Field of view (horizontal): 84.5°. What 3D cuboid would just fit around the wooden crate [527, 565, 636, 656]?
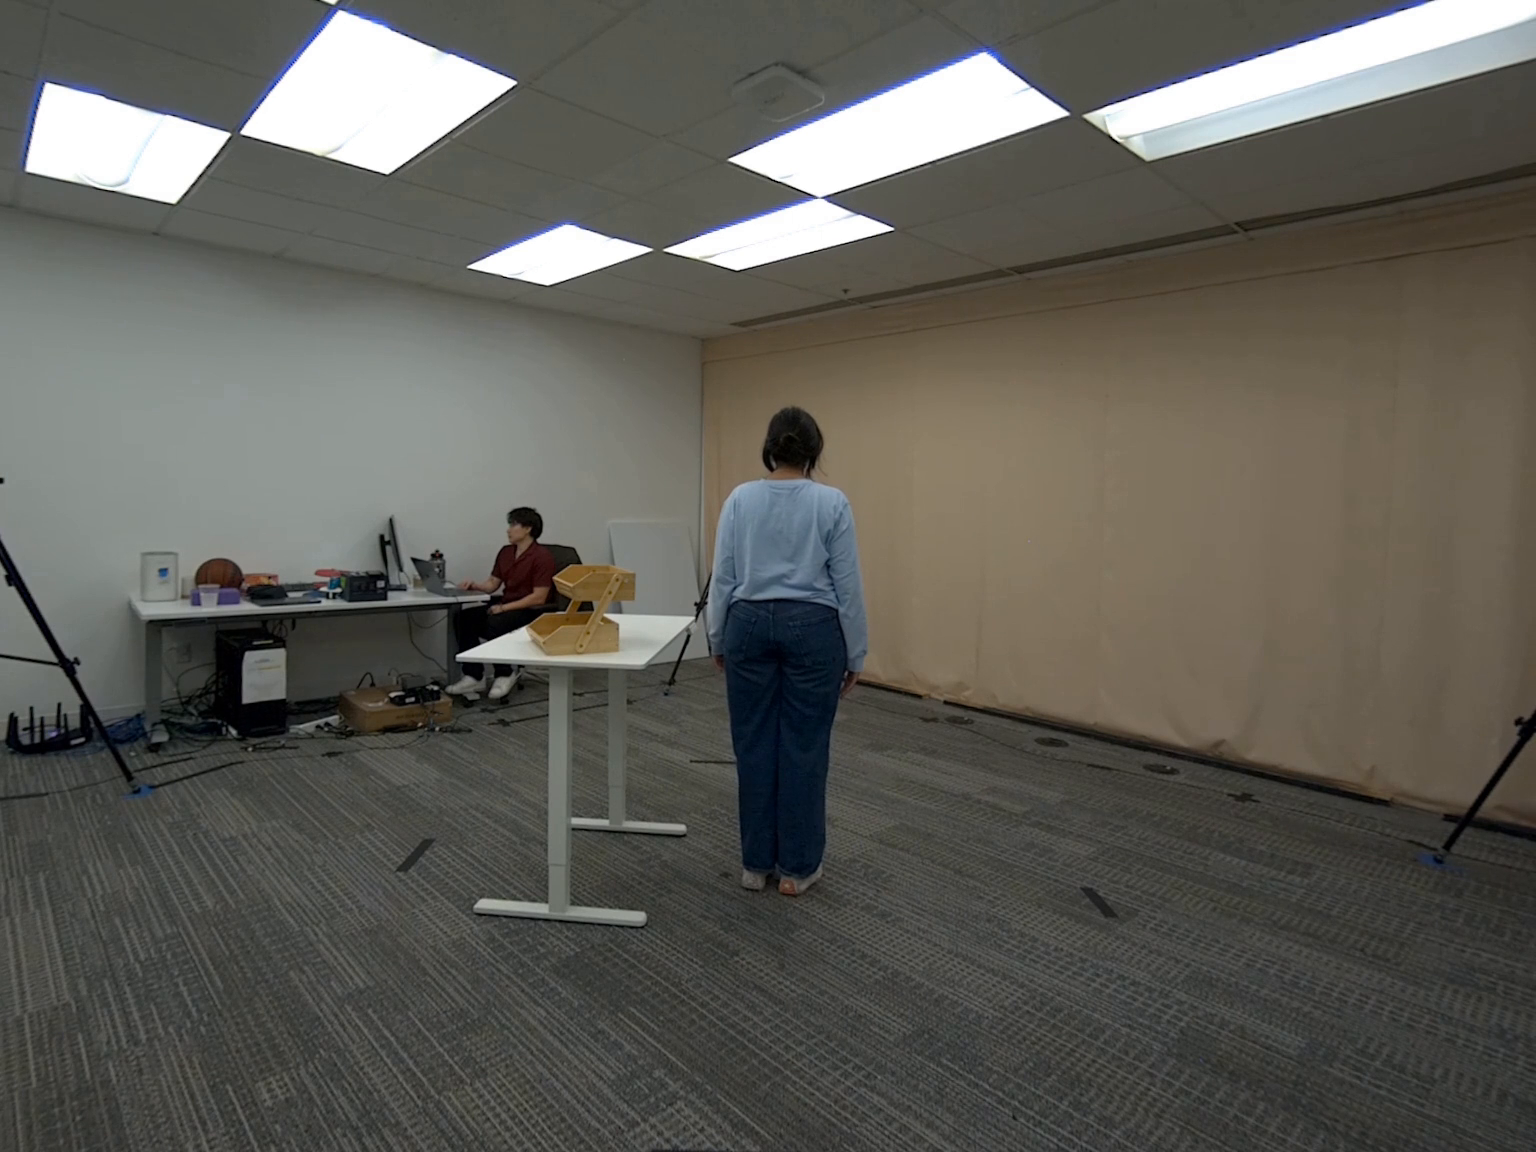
[{"bbox_3d":[-0.650,0.107,2.829,0.297,0.272,0.331,0,4,-25],"label":"wooden crate"}]
